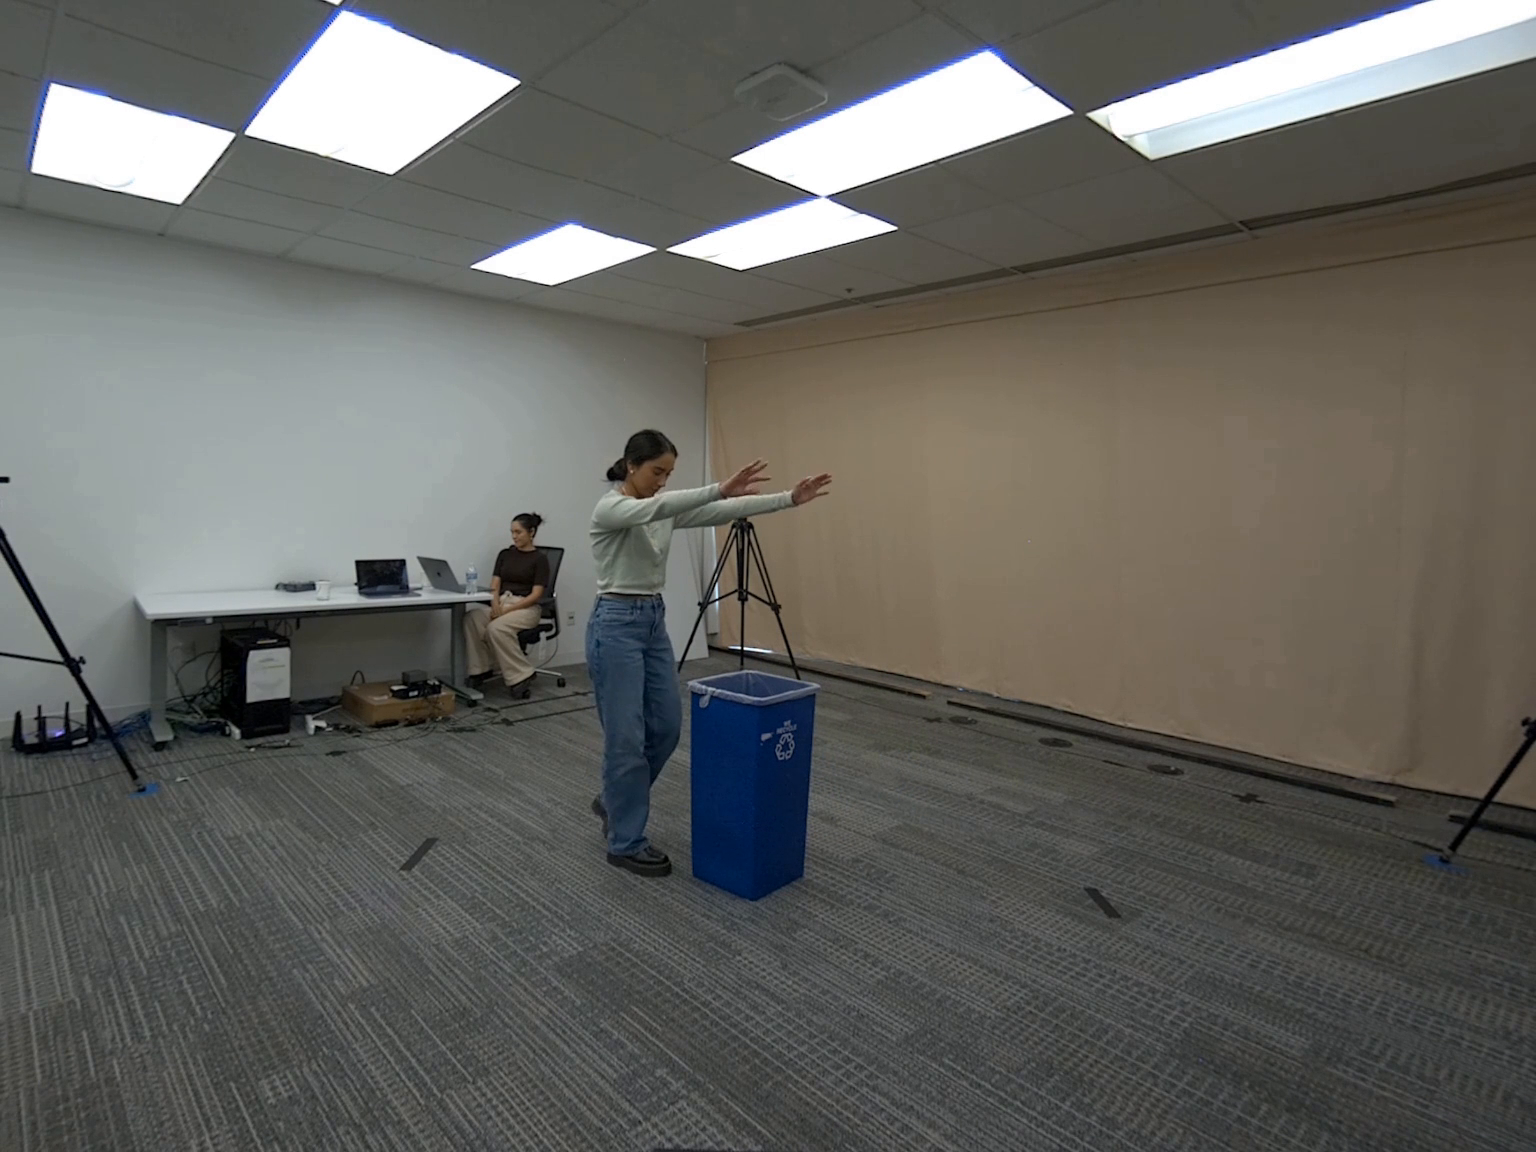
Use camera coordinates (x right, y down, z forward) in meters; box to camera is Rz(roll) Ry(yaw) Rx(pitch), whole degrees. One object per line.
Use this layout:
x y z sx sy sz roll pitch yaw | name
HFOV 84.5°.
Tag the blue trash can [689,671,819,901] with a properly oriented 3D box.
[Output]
-0.068 0.746 3.091 0.388 0.712 0.366 5 5 40 | blue trash can
